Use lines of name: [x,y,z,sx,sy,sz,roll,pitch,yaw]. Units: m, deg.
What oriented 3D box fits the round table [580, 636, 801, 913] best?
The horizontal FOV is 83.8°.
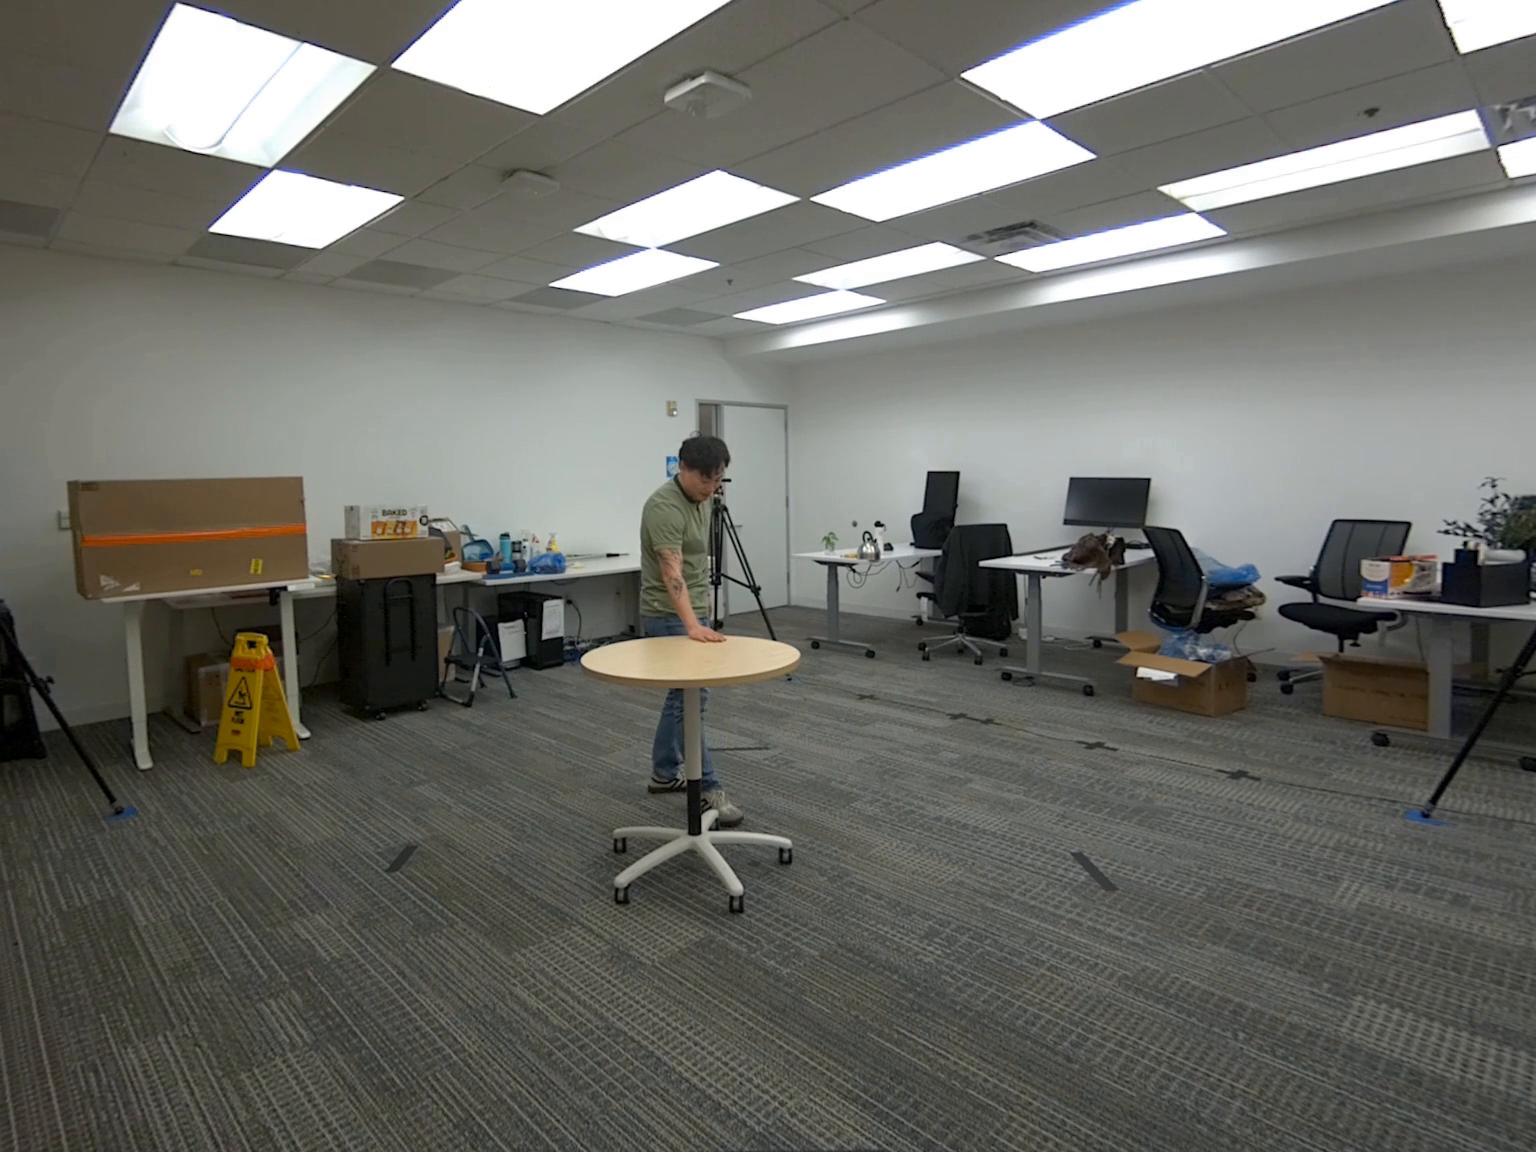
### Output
round table: [-0.262,0.669,3.021,0.763,0.791,0.768,-1,5,-2]
